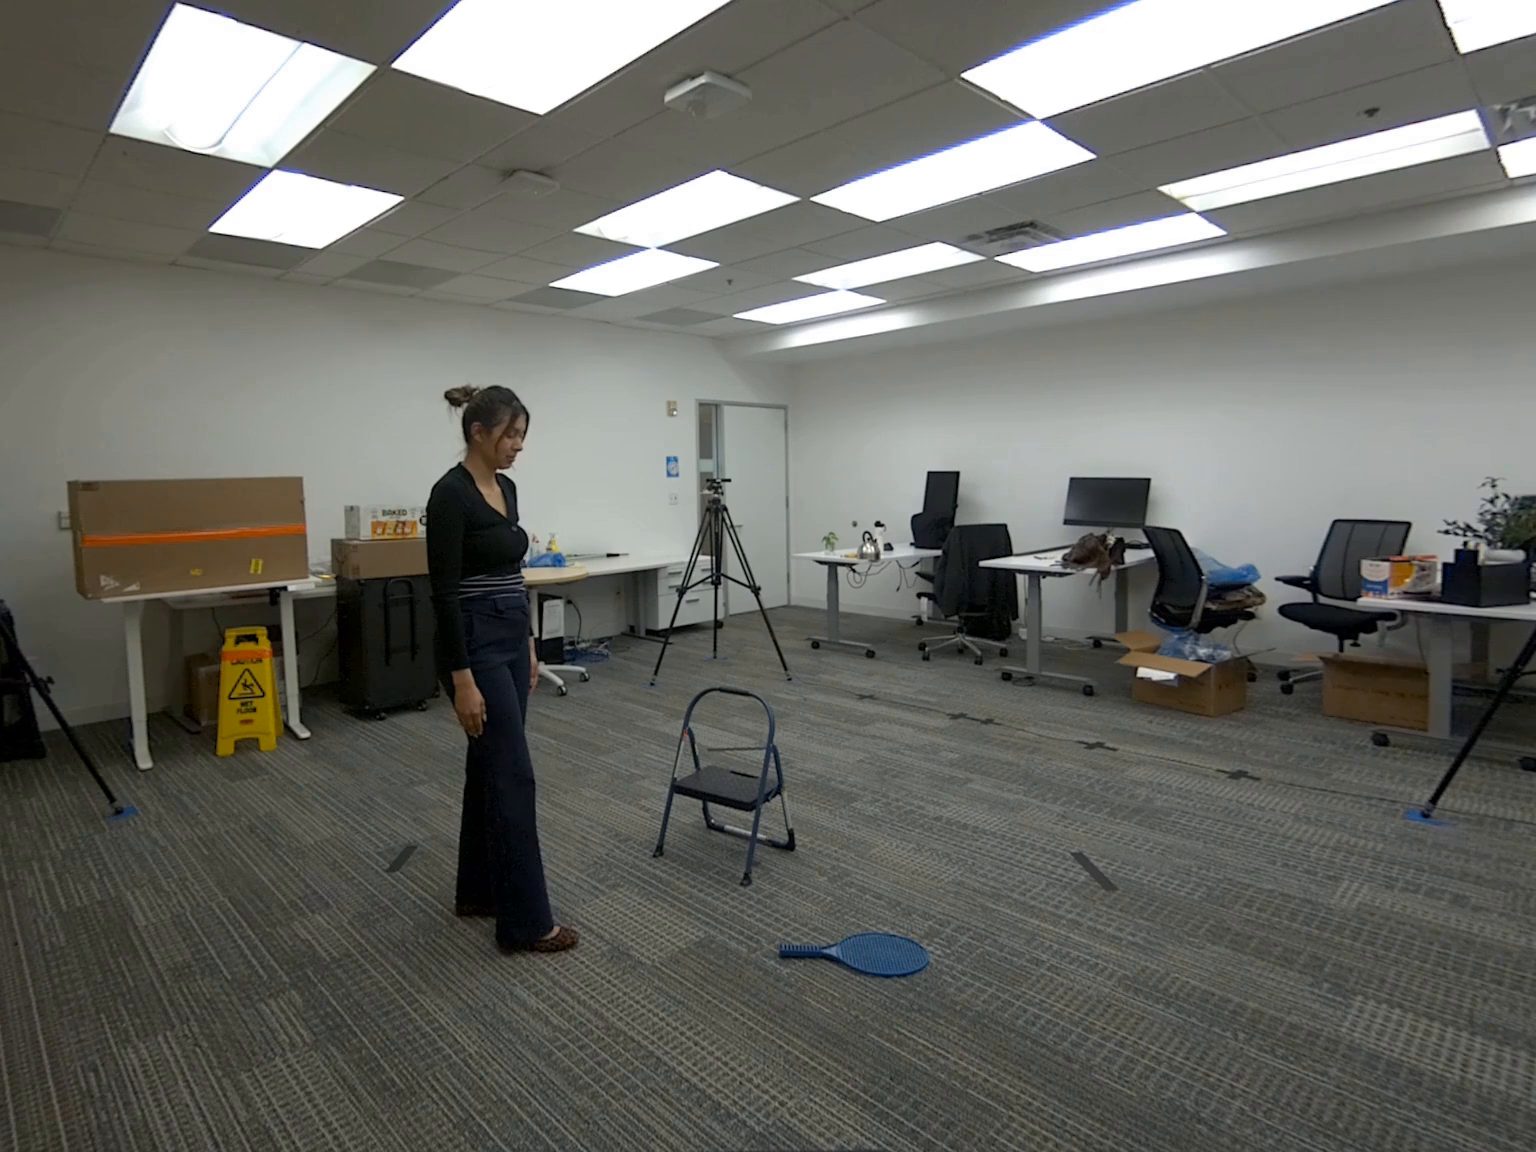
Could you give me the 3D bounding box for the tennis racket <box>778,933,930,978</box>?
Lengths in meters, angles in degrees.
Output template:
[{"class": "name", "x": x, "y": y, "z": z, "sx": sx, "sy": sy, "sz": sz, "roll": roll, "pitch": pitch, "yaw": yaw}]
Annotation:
[{"class": "tennis racket", "x": 0.251, "y": 1.089, "z": 2.495, "sx": 0.435, "sy": 0.031, "sz": 0.214, "roll": 1, "pitch": 6, "yaw": 4}]
